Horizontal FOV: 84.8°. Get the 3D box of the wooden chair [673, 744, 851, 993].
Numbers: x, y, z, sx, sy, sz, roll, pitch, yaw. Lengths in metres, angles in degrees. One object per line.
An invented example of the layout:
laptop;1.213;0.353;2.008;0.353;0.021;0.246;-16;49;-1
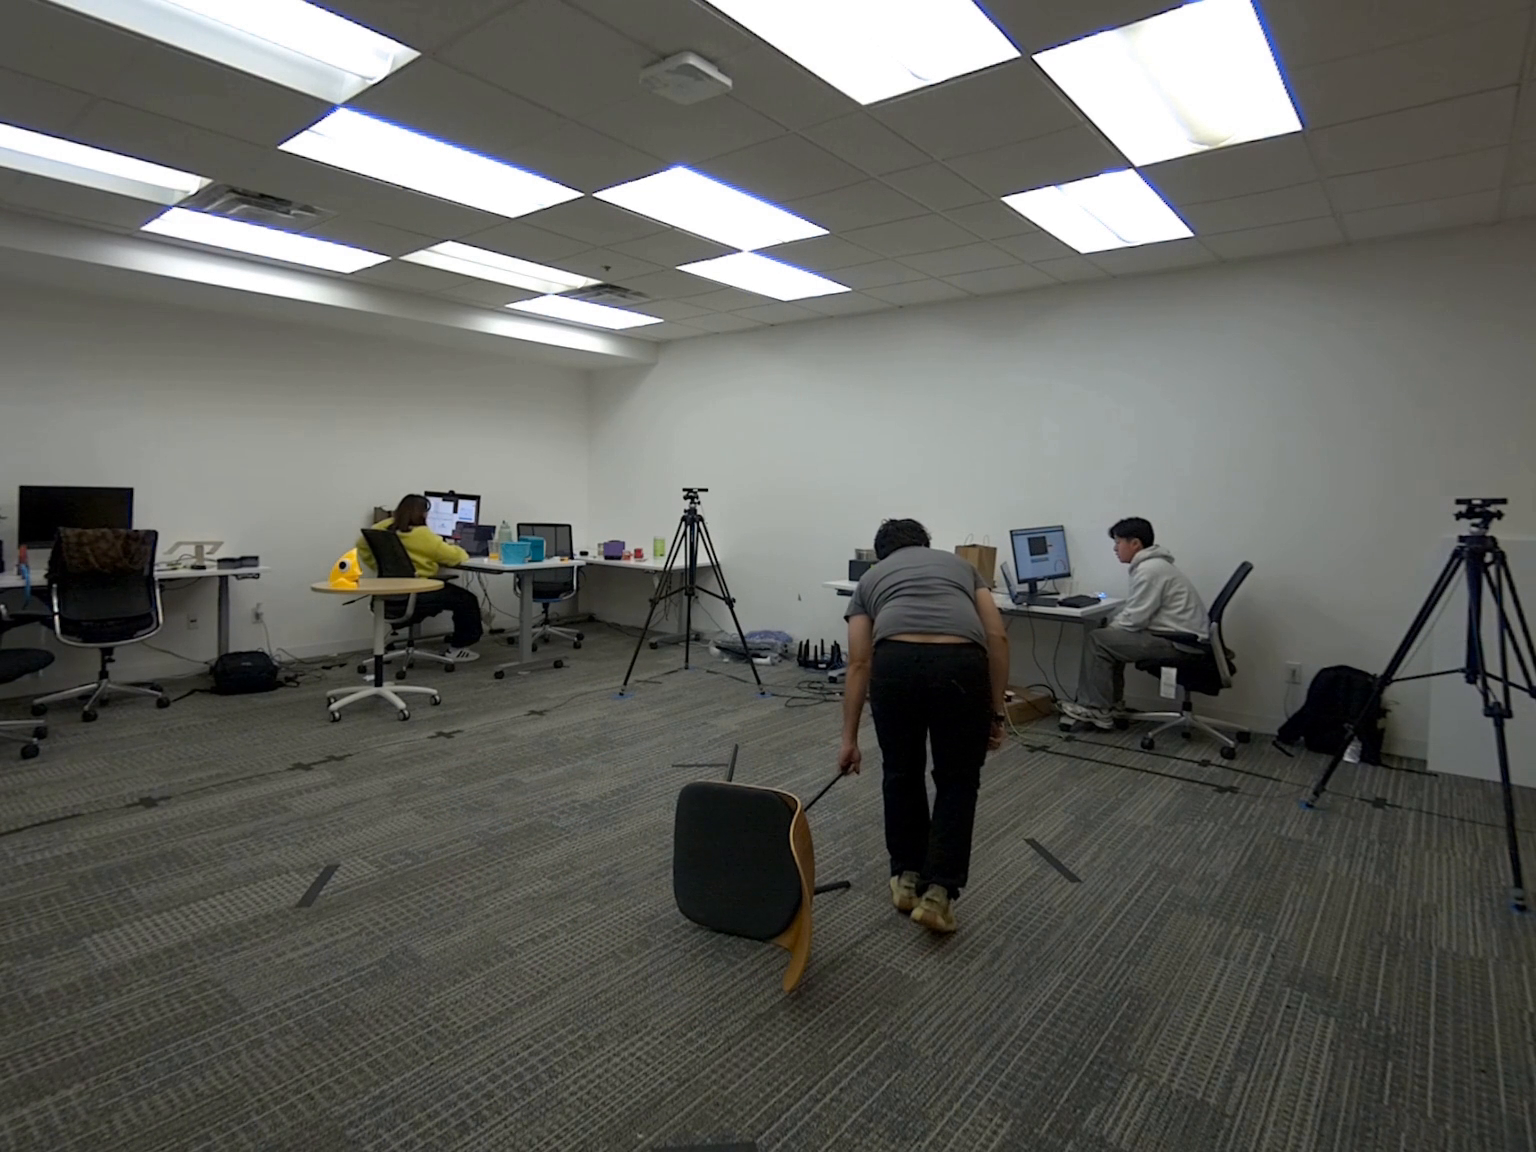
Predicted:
wooden chair;-0.050;0.879;2.679;0.532;0.476;0.866;4;5;13
